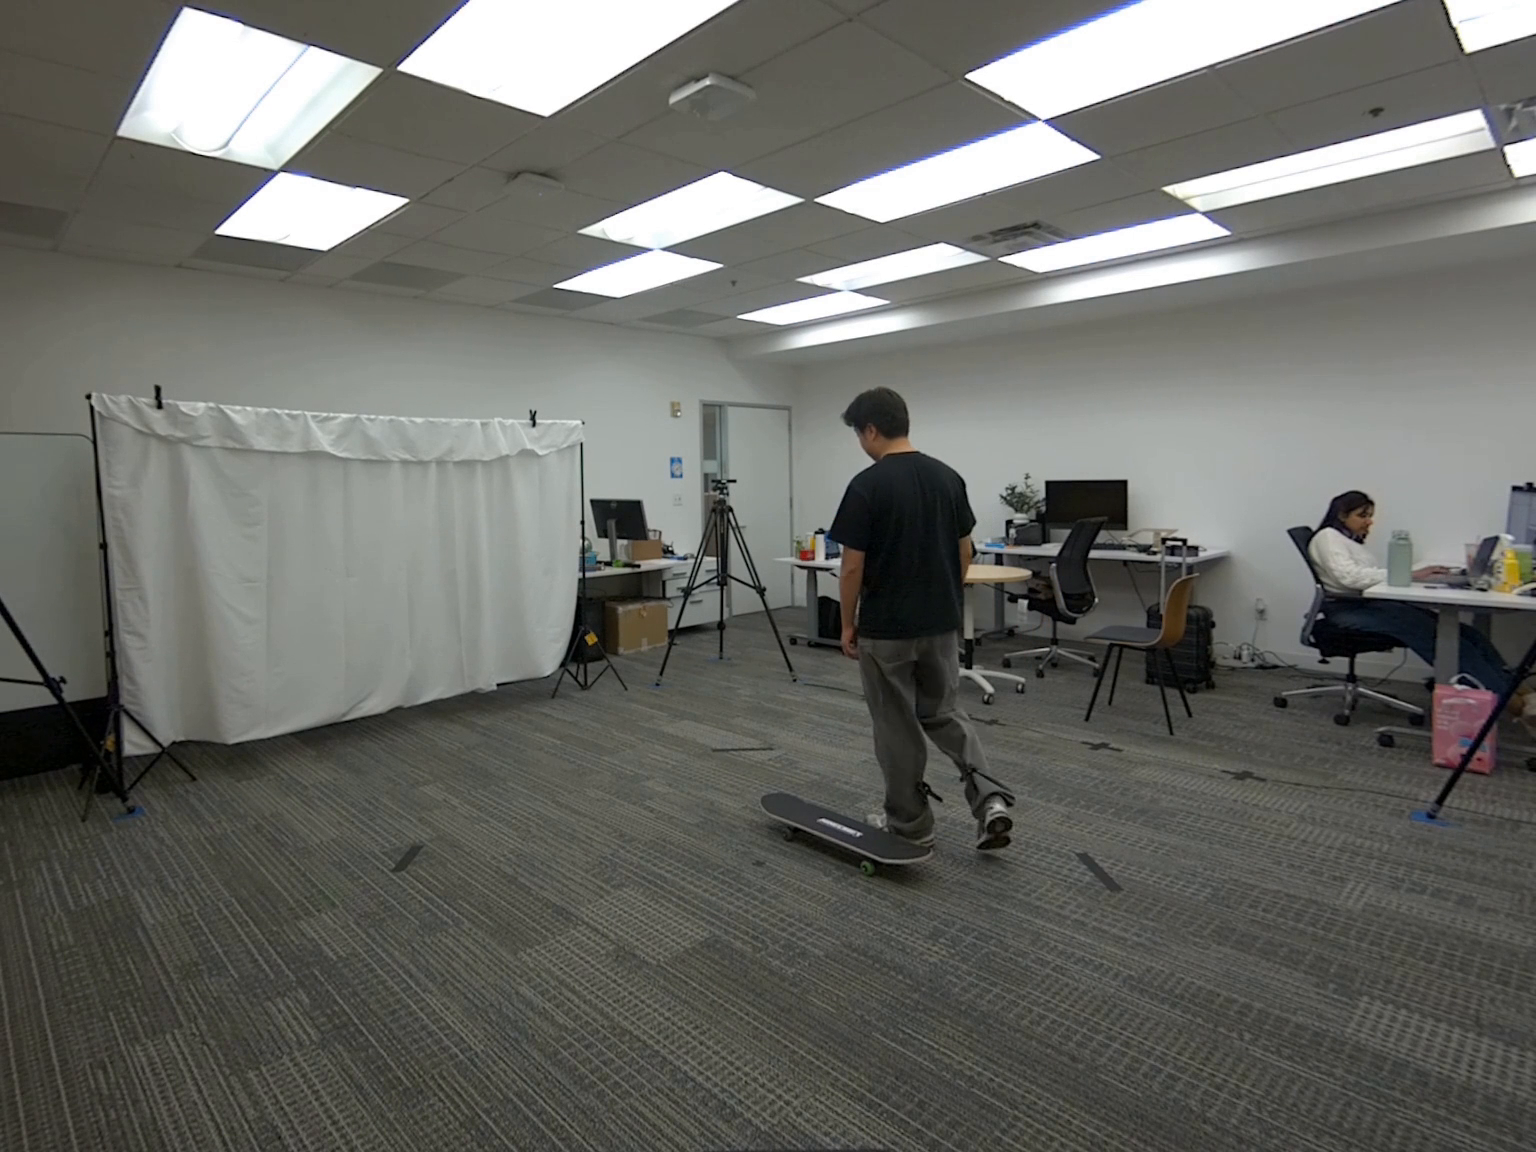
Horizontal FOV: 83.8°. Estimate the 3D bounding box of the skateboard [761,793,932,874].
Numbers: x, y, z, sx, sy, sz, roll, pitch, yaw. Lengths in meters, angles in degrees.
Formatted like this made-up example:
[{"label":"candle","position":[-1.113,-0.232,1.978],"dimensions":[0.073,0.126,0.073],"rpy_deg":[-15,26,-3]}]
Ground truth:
[{"label":"skateboard","position":[0.278,0.981,3.202],"dimensions":[0.188,0.110,0.810],"rpy_deg":[-7,9,-42]}]
